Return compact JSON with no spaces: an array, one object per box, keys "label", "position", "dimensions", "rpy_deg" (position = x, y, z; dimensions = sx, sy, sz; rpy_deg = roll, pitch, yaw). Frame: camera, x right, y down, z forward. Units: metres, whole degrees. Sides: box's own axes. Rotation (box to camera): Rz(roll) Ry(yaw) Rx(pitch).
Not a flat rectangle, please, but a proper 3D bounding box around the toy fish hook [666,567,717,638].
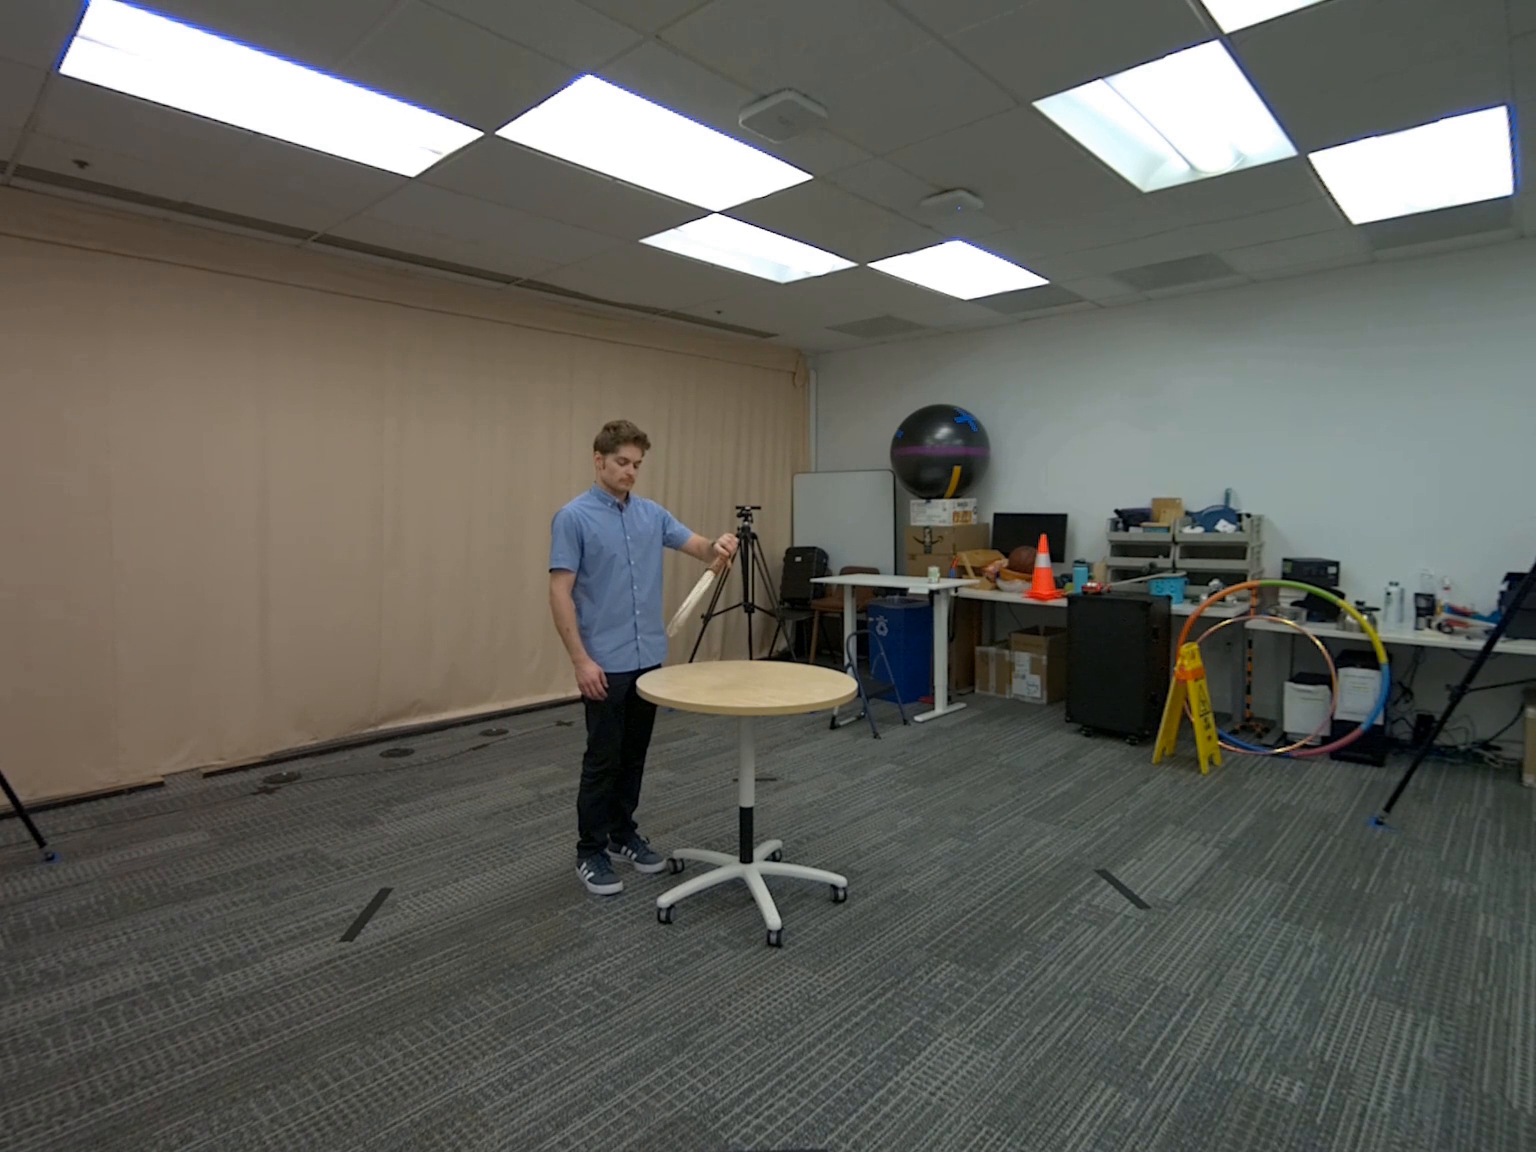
[{"label":"toy fish hook","position":[-0.197,0.004,2.854],"dimensions":[0.226,0.048,0.505],"rpy_deg":[-46,8,49]}]
